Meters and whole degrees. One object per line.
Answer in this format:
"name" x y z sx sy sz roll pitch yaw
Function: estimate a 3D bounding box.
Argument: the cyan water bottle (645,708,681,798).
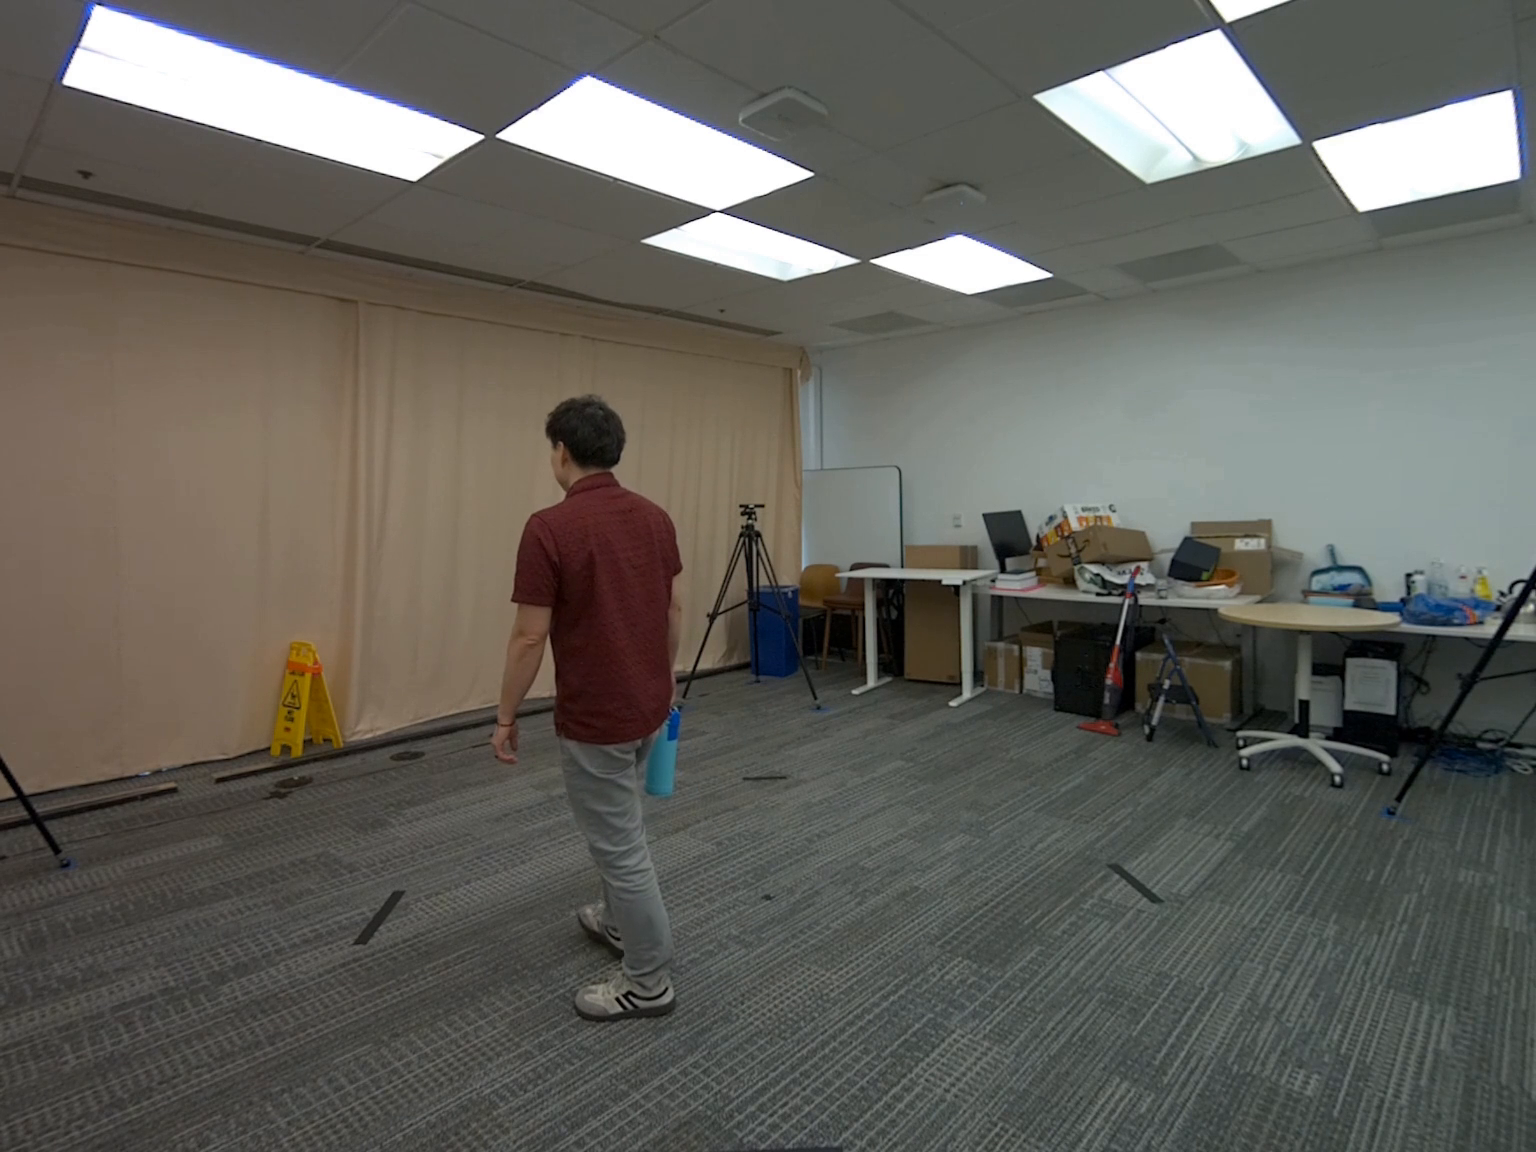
"cyan water bottle" -0.326 0.541 2.615 0.092 0.283 0.092 6 1 -2
